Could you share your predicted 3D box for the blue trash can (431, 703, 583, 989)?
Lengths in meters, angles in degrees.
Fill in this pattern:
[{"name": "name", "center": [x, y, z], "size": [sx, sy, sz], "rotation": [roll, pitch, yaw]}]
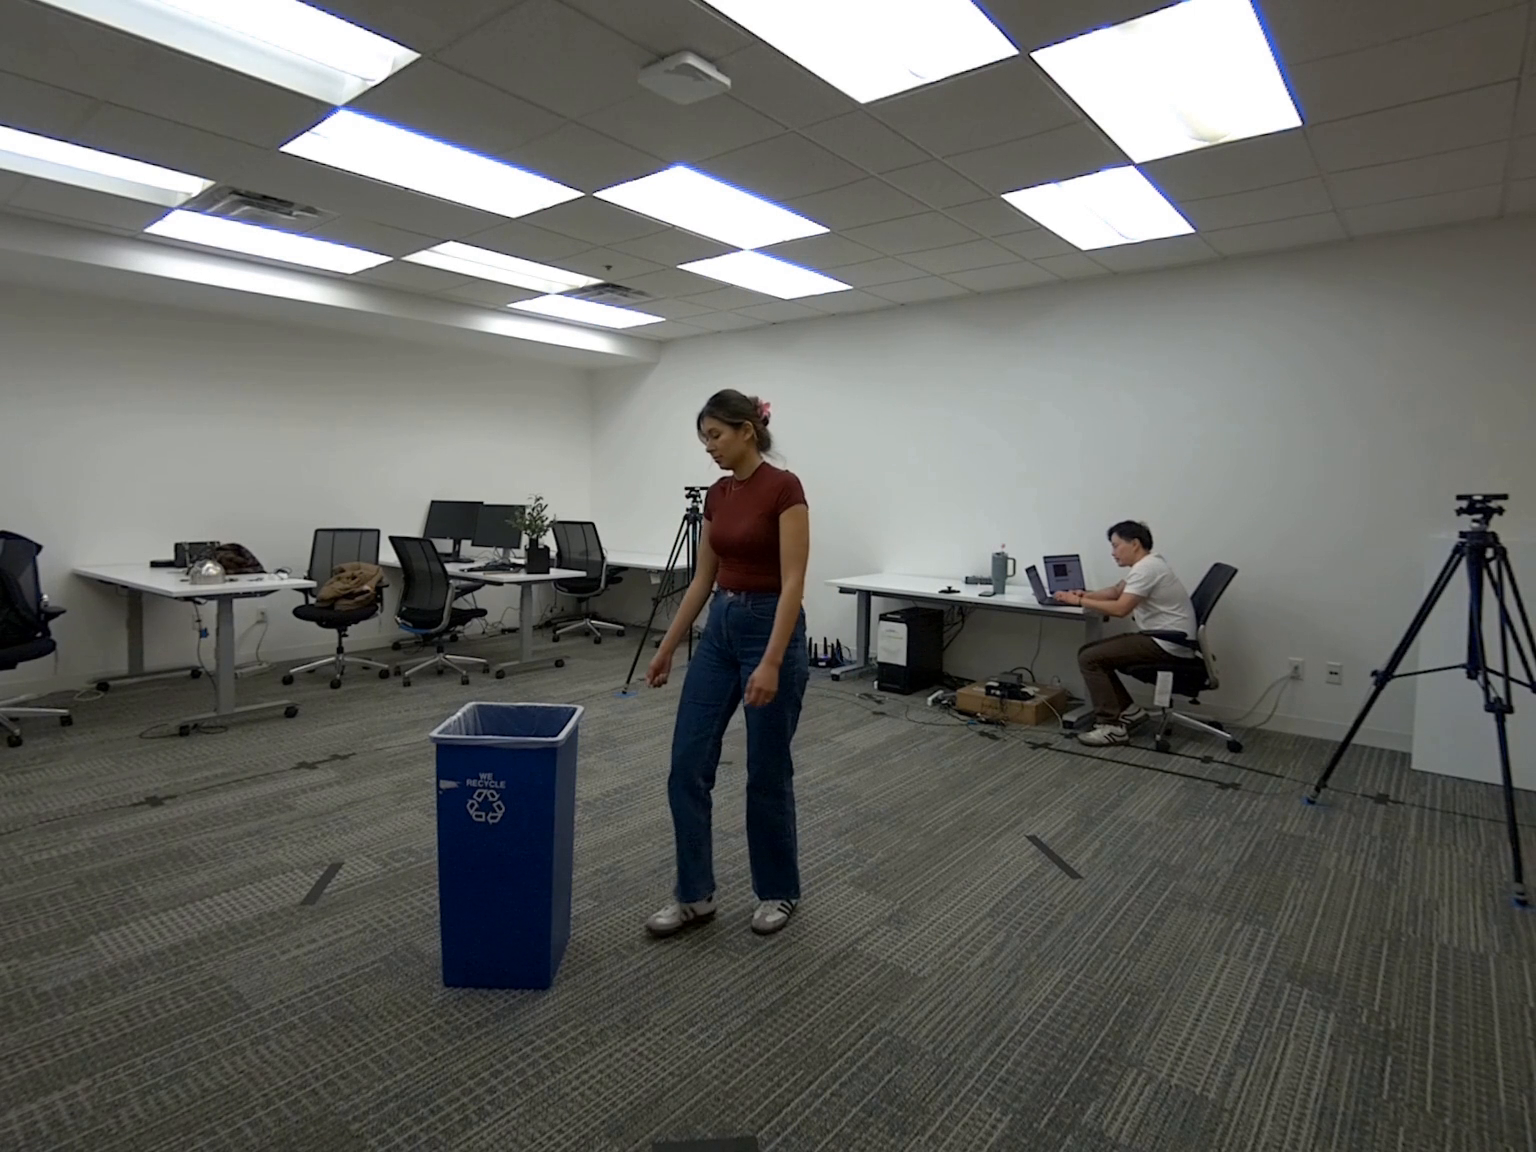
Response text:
[{"name": "blue trash can", "center": [-0.754, 0.767, 2.479], "size": [0.374, 0.711, 0.379], "rotation": [1, 3, 0]}]
